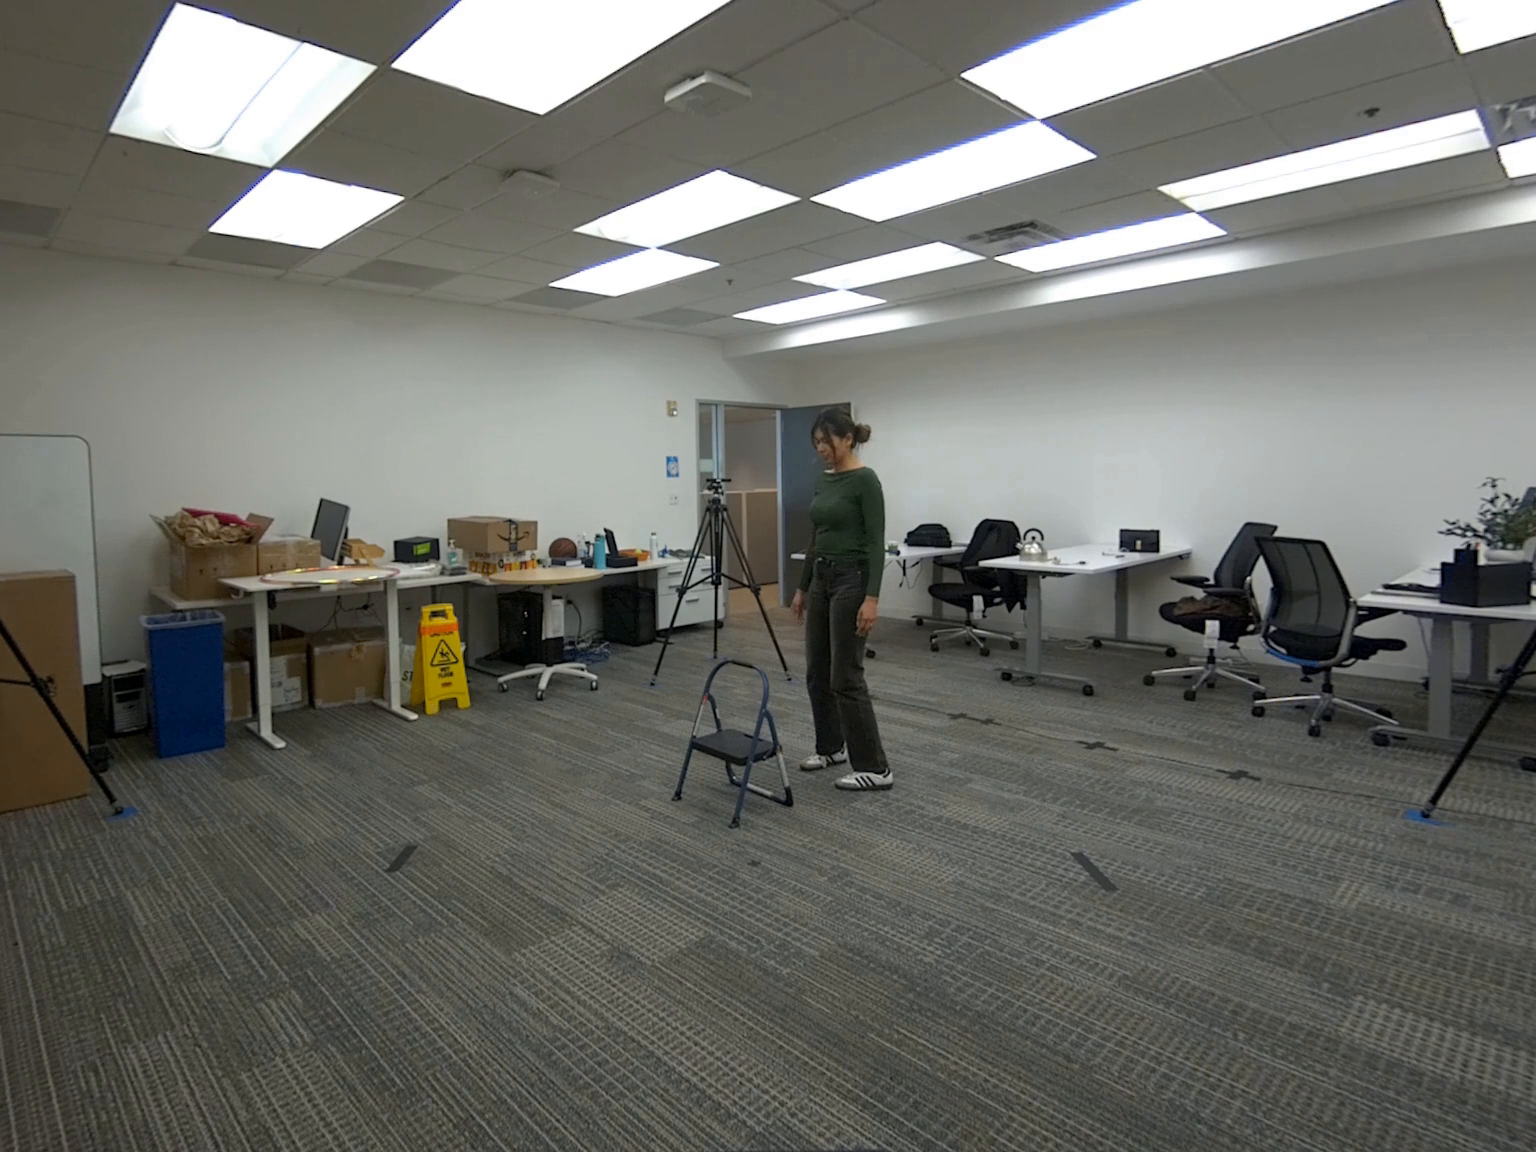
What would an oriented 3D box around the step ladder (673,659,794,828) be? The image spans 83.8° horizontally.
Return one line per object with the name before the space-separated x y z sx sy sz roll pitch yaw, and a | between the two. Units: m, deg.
step ladder | -0.157 0.678 3.670 0.340 0.604 0.444 -4 5 -41
